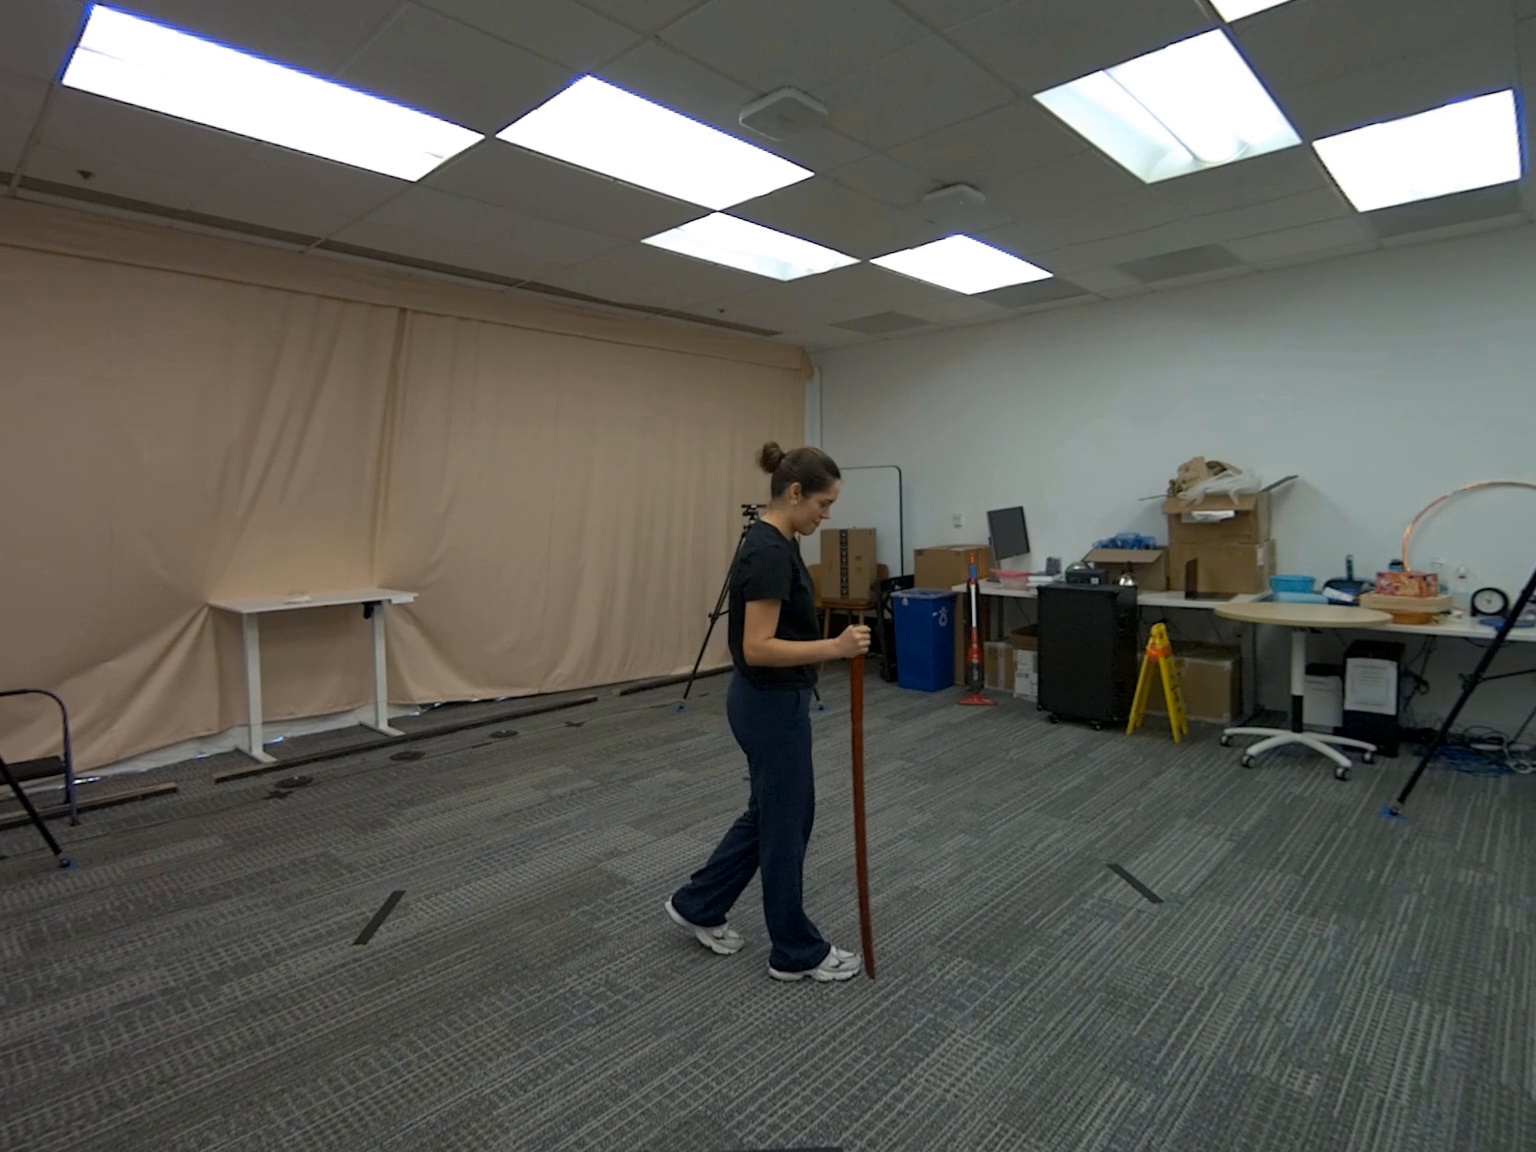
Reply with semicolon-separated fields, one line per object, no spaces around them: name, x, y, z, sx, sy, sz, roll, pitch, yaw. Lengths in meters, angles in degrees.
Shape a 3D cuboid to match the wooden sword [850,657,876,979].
wooden sword;0.303;0.668;2.381;0.050;1.021;0.025;-7;6;-38
